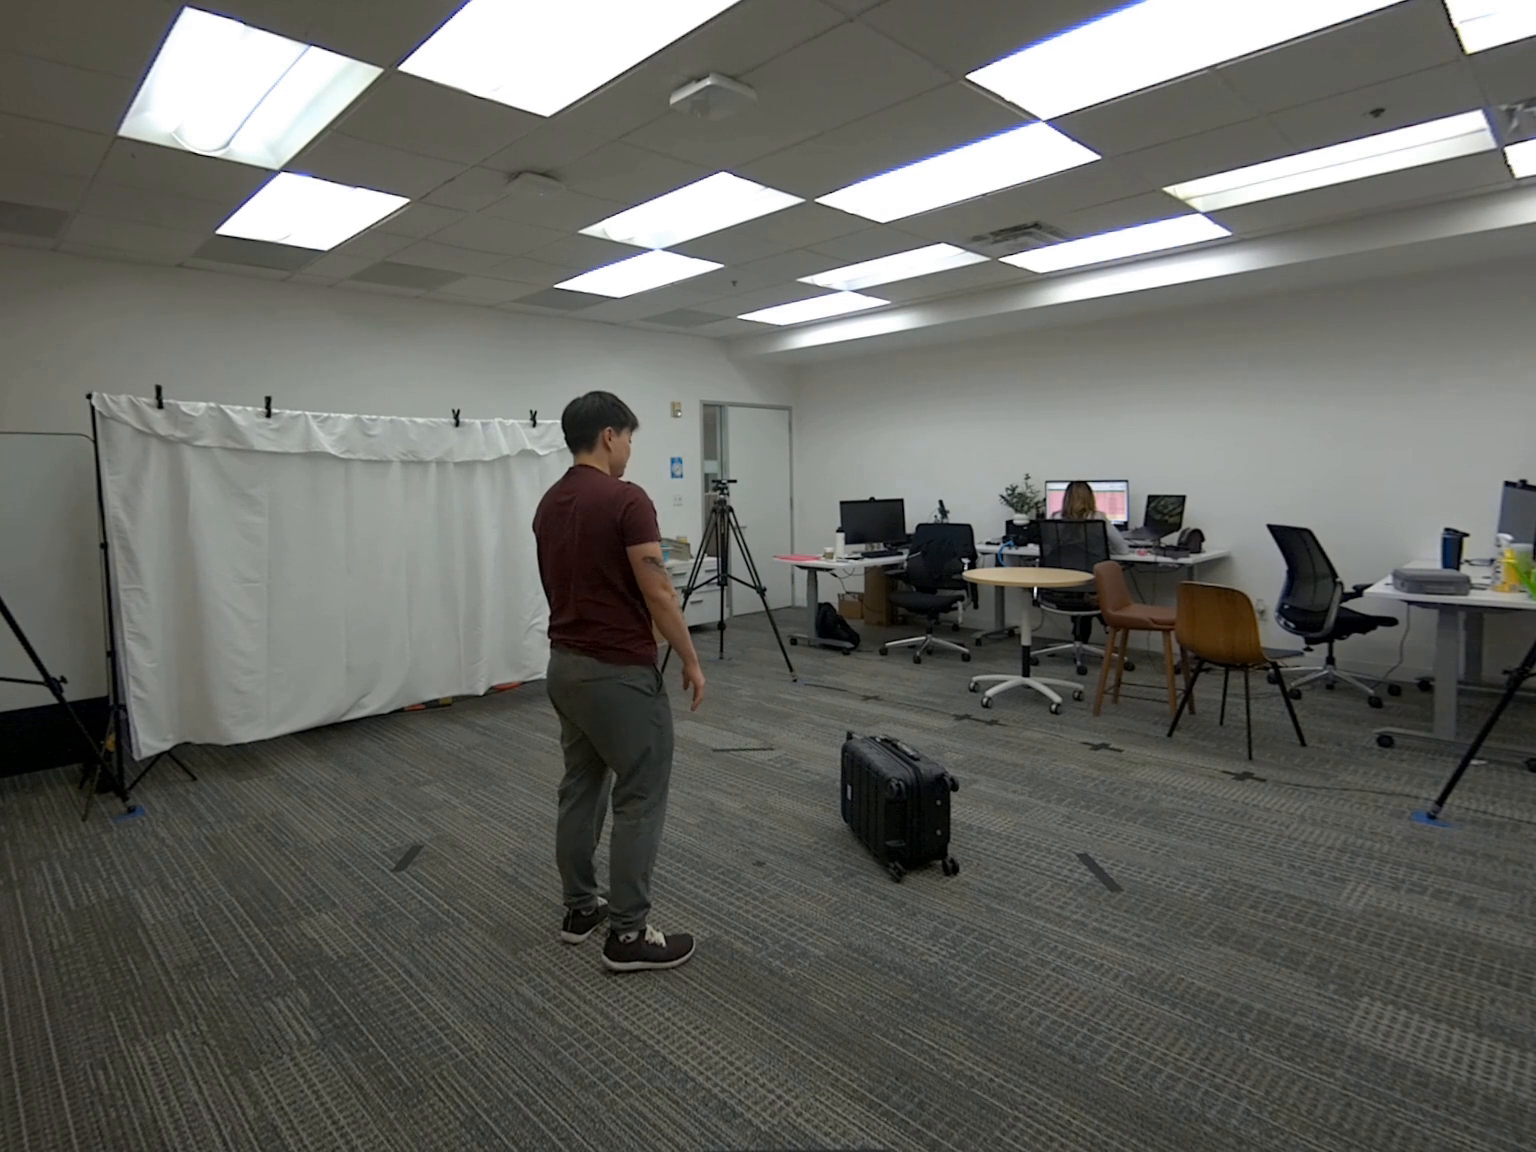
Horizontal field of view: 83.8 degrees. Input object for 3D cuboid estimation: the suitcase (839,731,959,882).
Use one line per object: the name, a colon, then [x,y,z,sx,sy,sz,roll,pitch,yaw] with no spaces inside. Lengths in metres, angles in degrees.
suitcase: [0.405,0.817,3.421,0.253,0.383,0.997,-2,5,-17]
